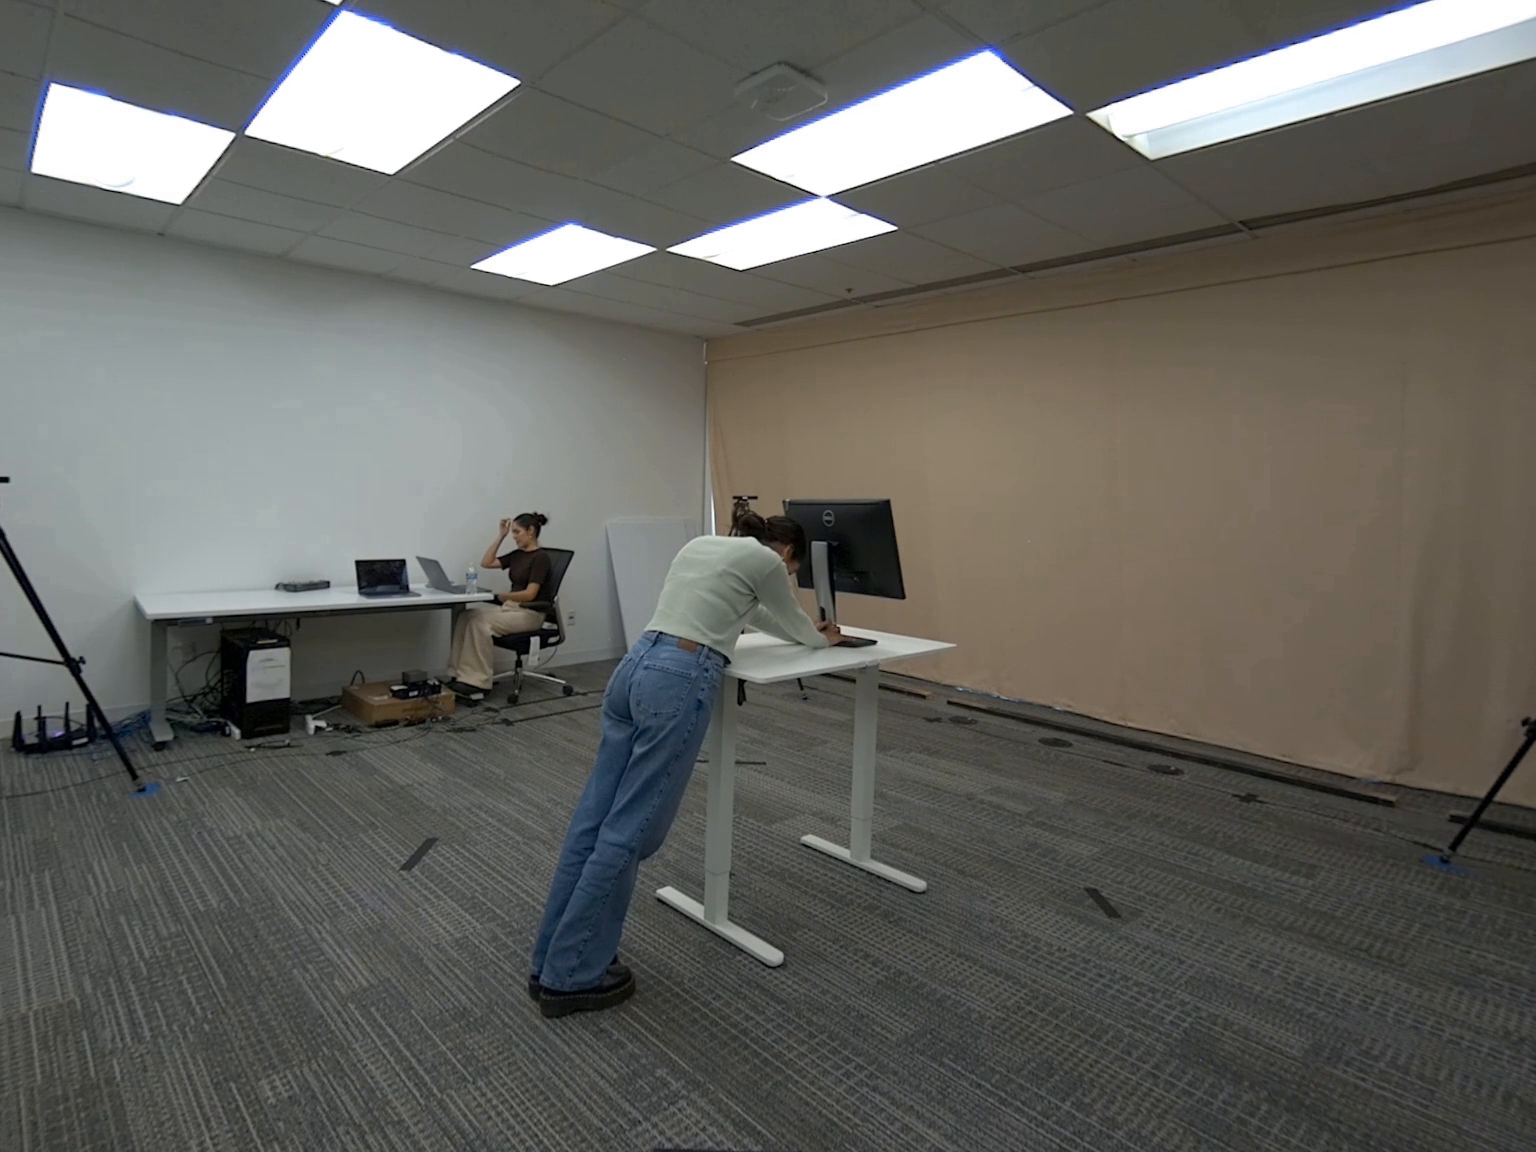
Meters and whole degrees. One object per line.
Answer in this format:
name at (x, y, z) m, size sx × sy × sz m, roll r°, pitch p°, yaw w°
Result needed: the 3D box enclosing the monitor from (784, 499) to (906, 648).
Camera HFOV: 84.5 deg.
monitor at (0.234, -0.015, 3.026) m, size 0.183 × 0.521 × 0.553 m, roll -4°, pitch 6°, yaw -41°
